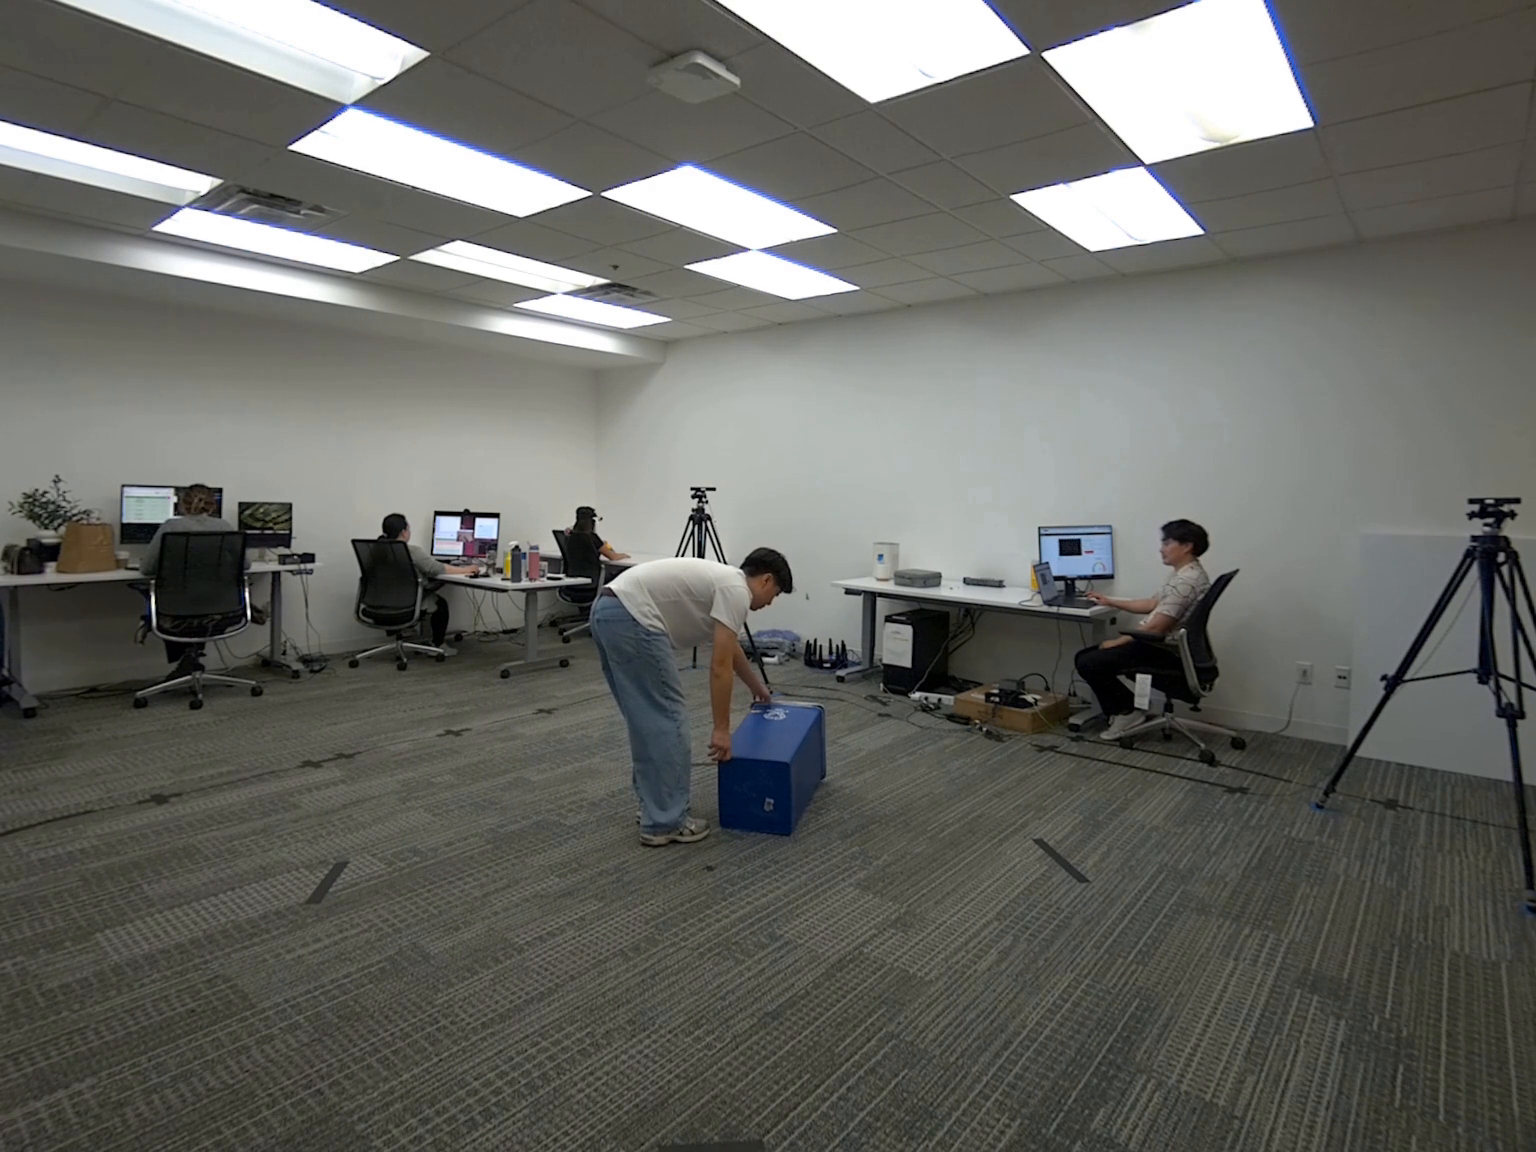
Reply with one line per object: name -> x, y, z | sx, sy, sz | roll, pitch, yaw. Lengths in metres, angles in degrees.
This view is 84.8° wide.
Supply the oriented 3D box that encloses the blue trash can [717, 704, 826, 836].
blue trash can -> 0.020, 0.837, 3.771 | 0.380, 0.375, 0.708 | 0, 8, 13
